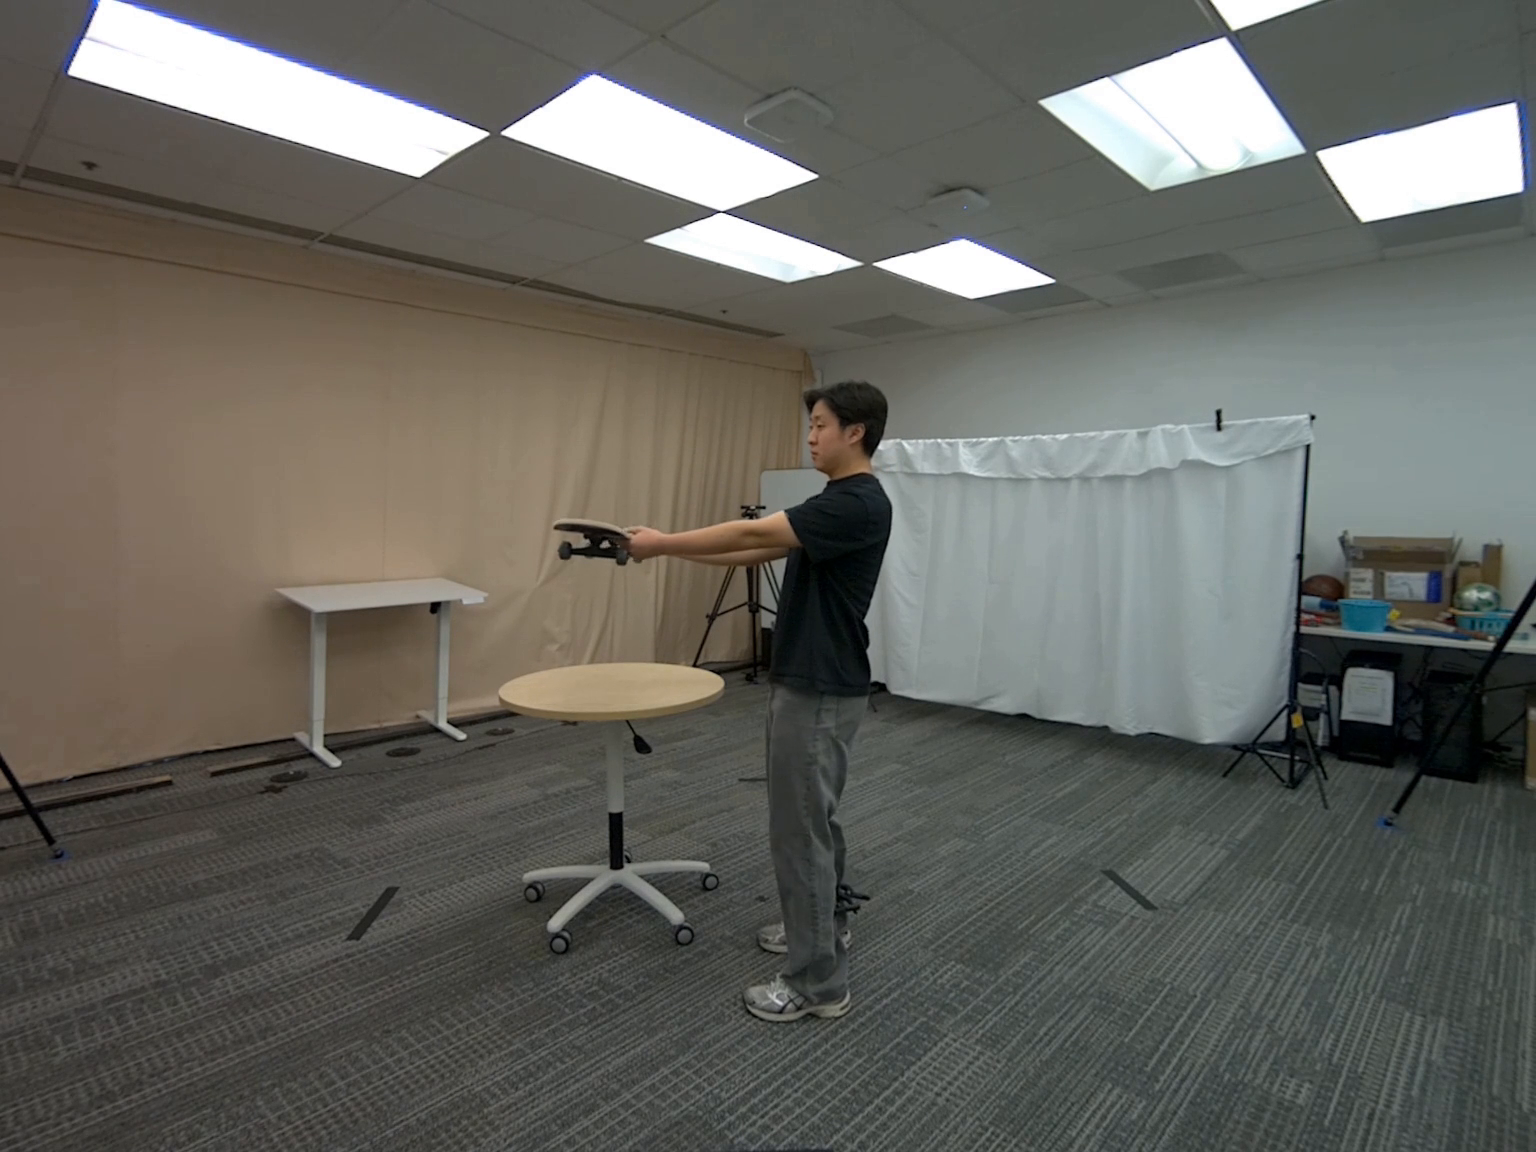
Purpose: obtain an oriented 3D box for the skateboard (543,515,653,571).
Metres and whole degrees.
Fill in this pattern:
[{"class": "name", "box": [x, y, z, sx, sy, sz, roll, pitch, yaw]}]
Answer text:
[{"class": "skateboard", "box": [-0.463, -0.093, 2.449, 0.193, 0.110, 0.786, 7, 1, -3]}]
